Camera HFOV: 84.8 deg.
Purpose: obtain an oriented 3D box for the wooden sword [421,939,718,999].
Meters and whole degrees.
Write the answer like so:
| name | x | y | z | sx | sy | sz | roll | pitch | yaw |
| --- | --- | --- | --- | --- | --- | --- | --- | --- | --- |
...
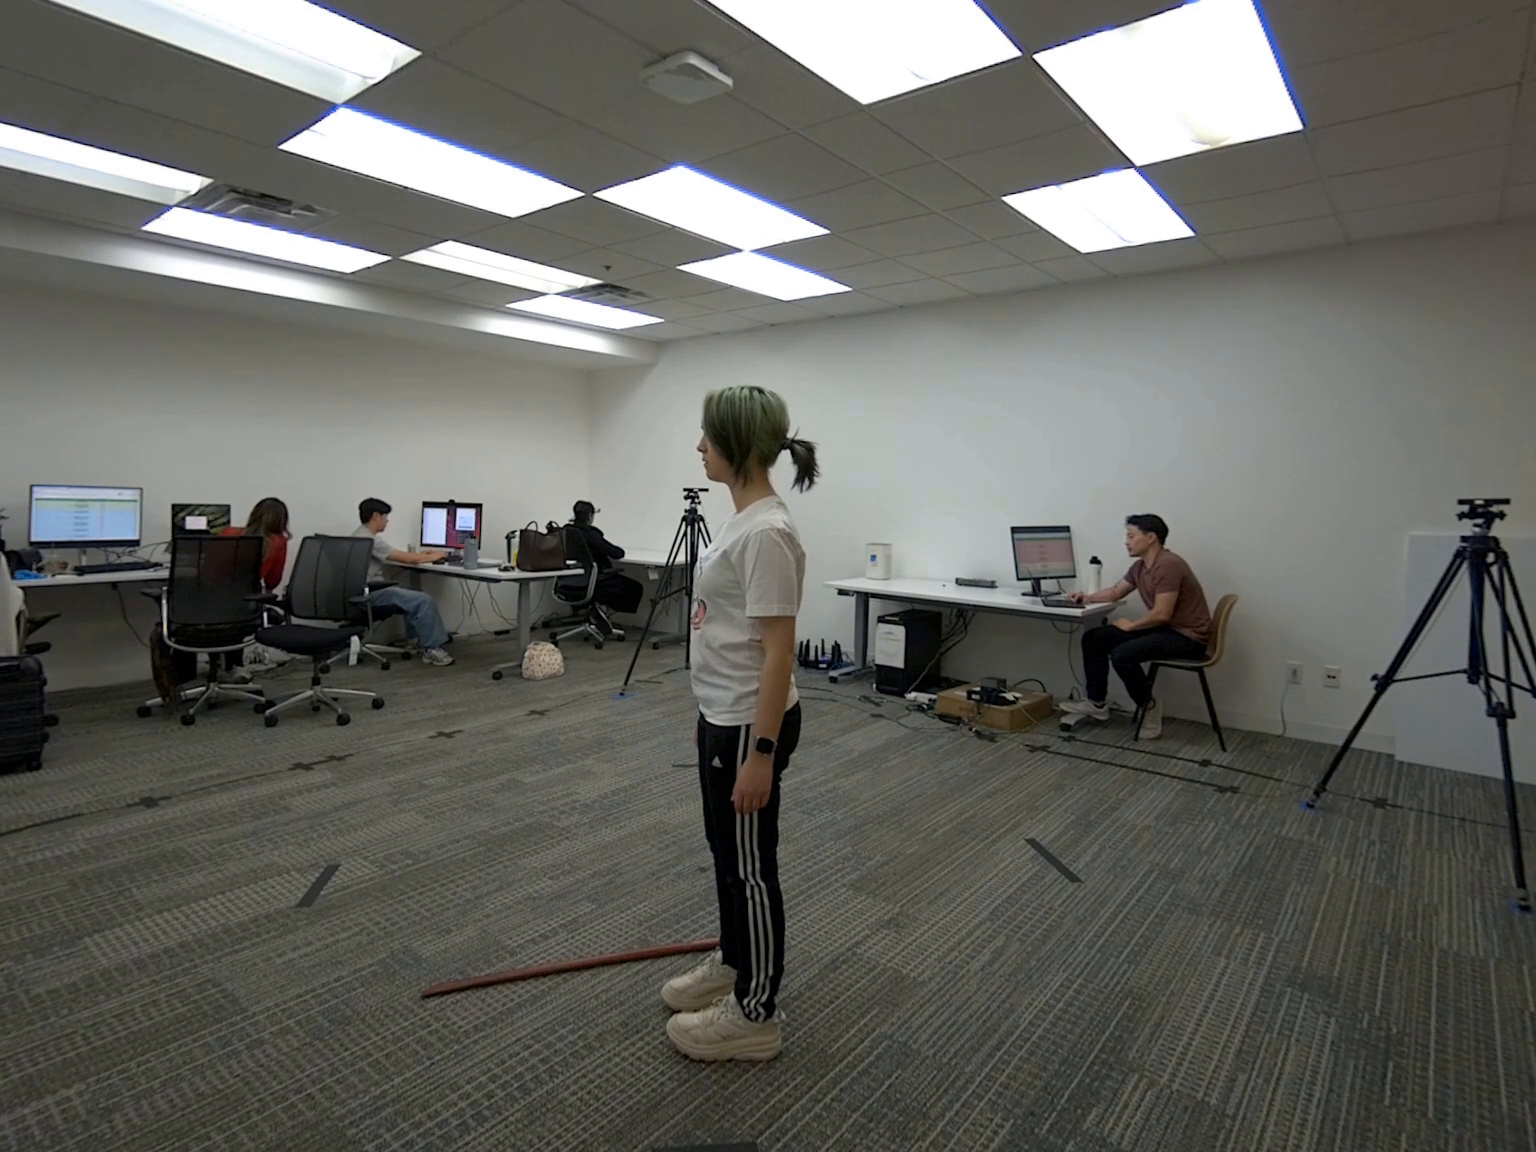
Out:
| name | x | y | z | sx | sy | sz | roll | pitch | yaw |
| --- | --- | --- | --- | --- | --- | --- | --- | --- | --- |
| wooden sword | -0.466 | 1.107 | 2.474 | 1.006 | 0.024 | 0.052 | -2 | 9 | -18 |
